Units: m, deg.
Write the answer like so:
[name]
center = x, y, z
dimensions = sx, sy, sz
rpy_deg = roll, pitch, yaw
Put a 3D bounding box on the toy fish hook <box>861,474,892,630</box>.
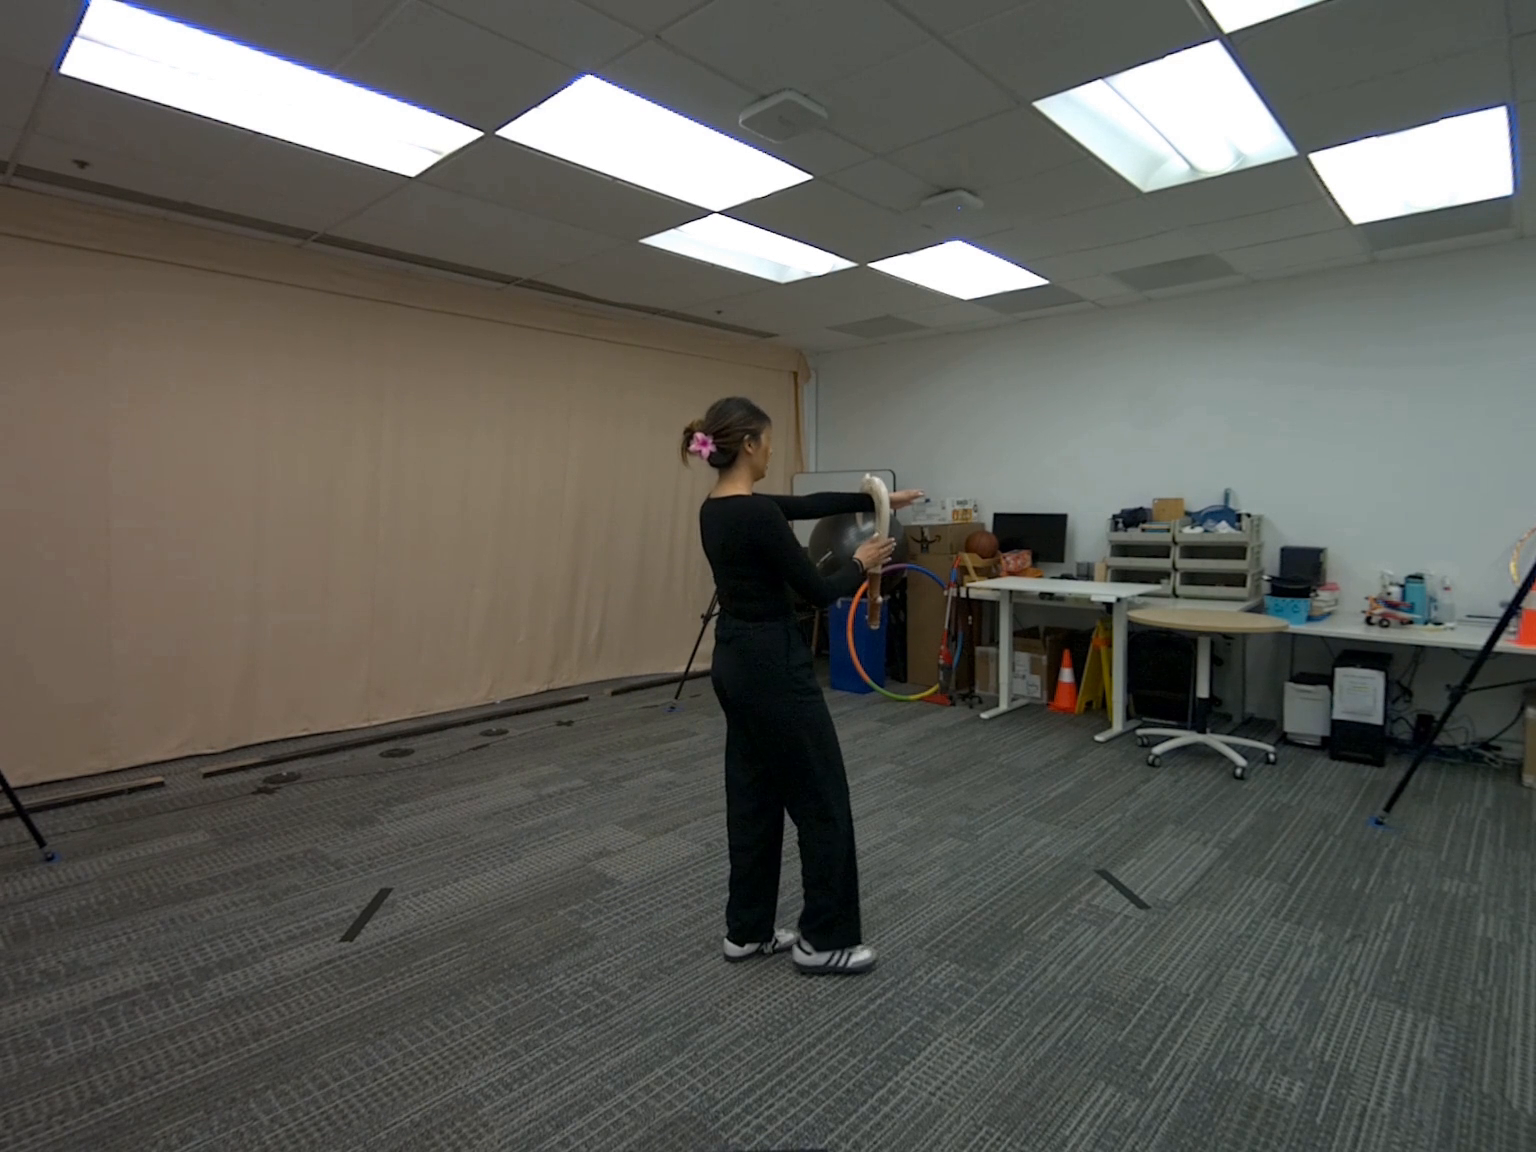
[toy fish hook]
center = 0.348, -0.083, 2.797
dimensions = 0.048, 0.502, 0.228
rpy_deg = -2, 14, -7
